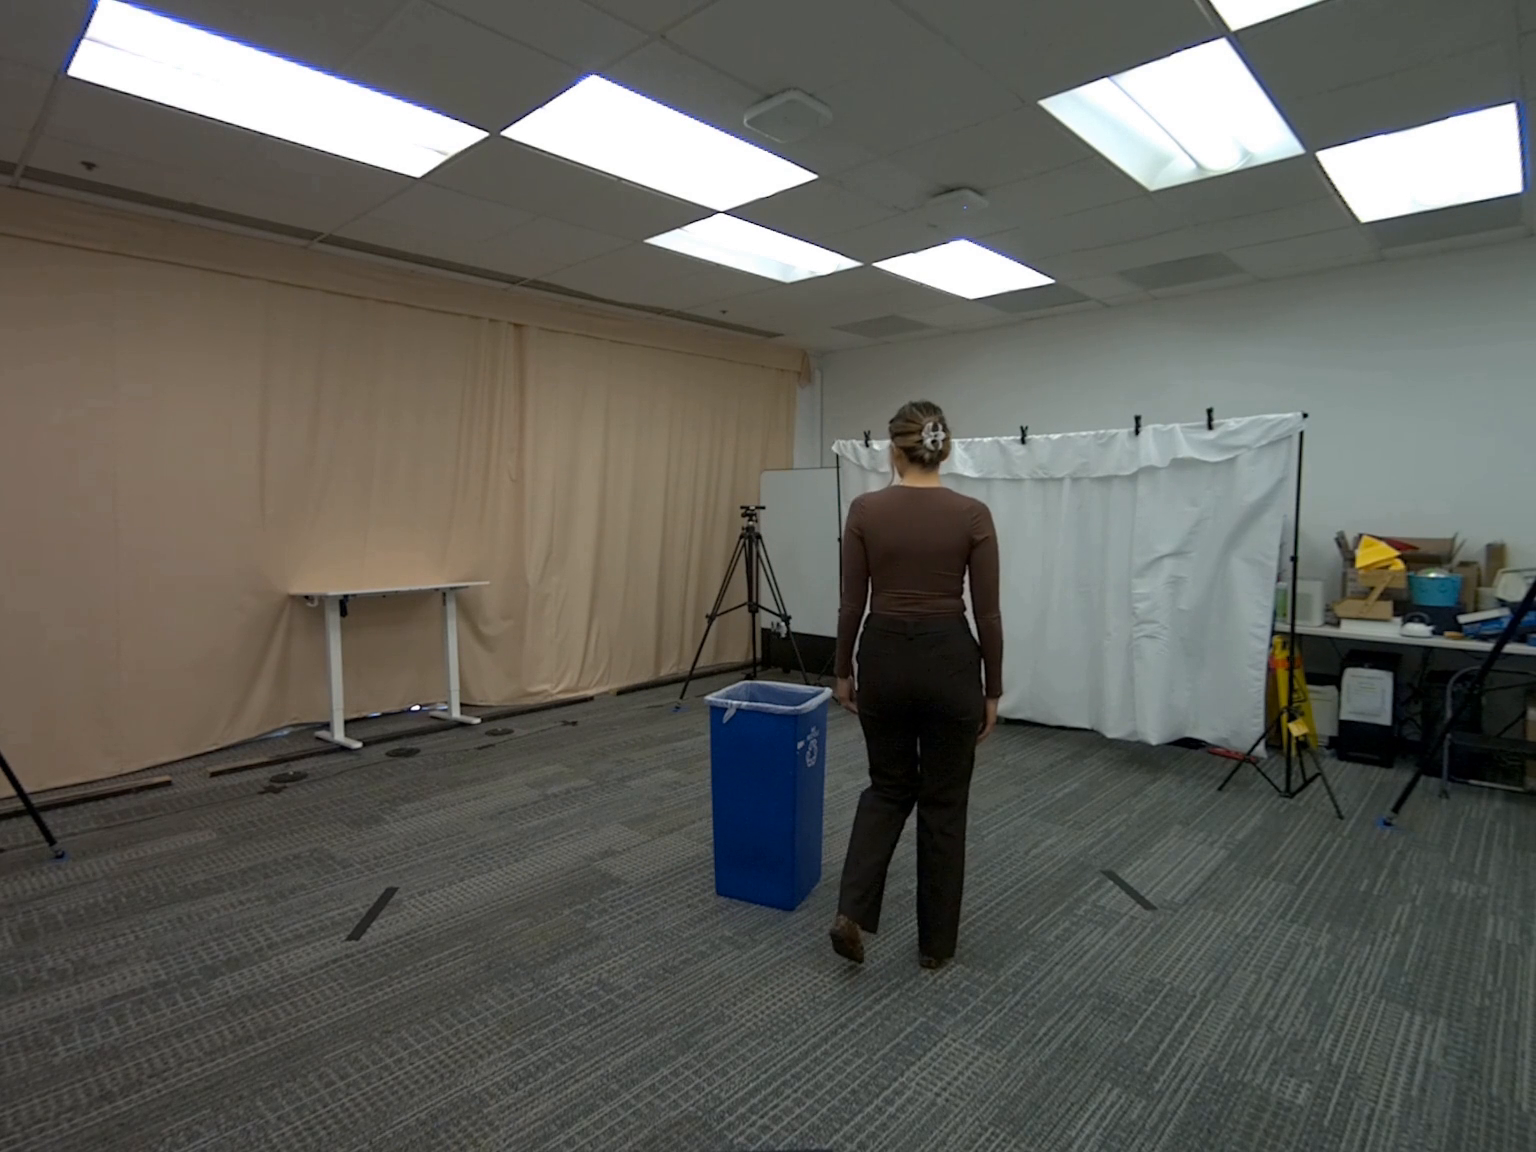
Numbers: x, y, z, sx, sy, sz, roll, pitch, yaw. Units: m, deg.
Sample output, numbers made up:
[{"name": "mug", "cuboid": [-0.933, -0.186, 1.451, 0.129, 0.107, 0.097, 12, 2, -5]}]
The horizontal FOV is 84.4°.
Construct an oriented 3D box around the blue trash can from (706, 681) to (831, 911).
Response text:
[{"name": "blue trash can", "cuboid": [0.008, 0.777, 3.072, 0.388, 0.712, 0.365, 2, 4, 25]}]
